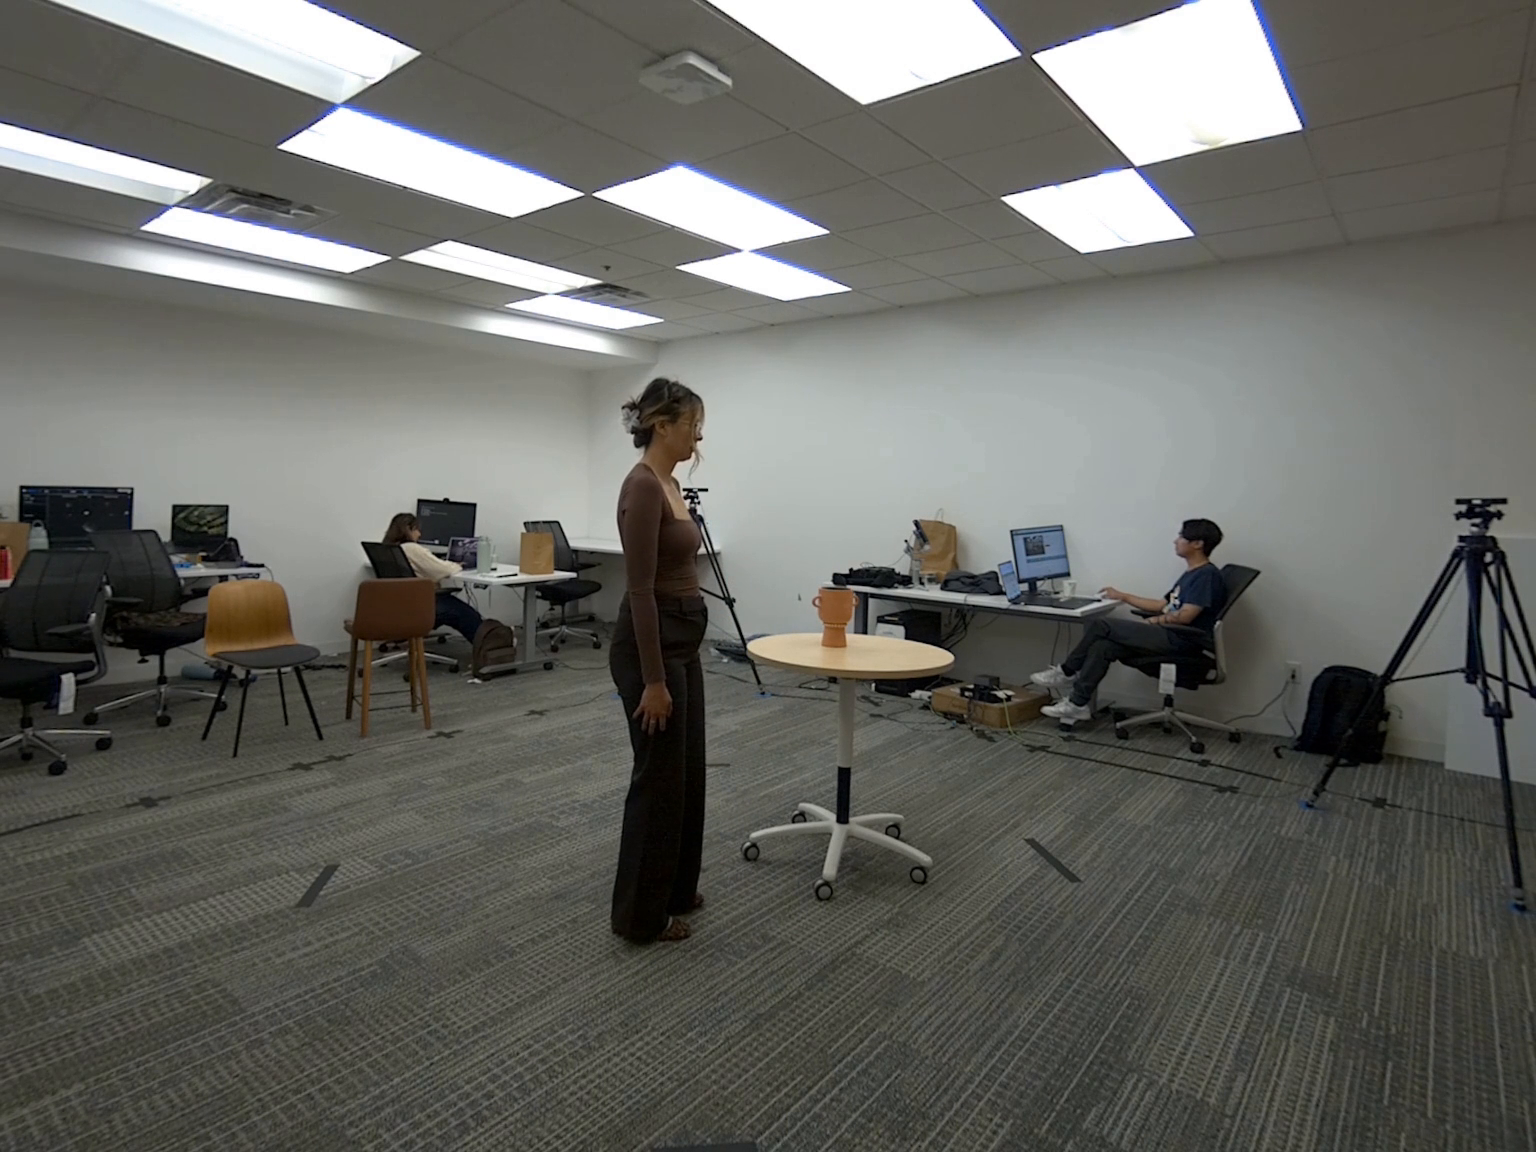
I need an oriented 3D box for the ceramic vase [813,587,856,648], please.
[{"bbox_3d":[0.252,0.156,3.279,0.162,0.219,0.132,3,3,17],"label":"ceramic vase"}]
